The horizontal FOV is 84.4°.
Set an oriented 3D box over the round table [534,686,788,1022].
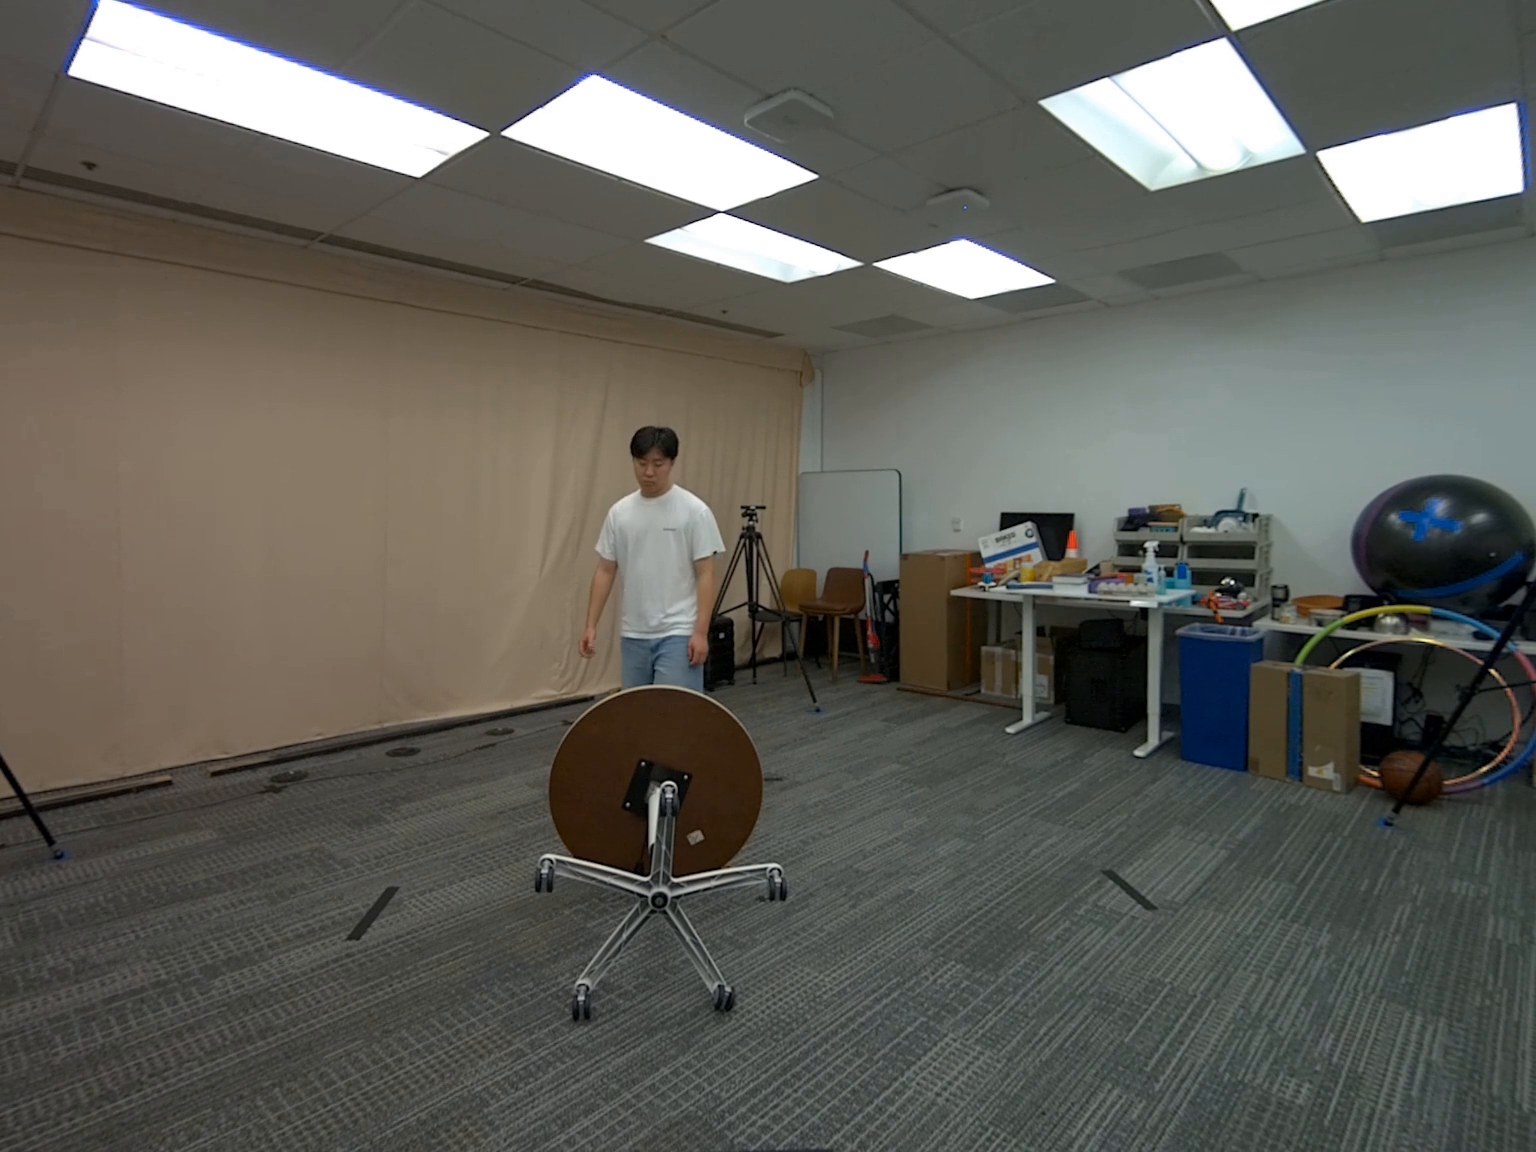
[{"bbox_3d":[-0.336,0.827,2.634,0.780,0.780,0.796,0,9,-7],"label":"round table"}]
